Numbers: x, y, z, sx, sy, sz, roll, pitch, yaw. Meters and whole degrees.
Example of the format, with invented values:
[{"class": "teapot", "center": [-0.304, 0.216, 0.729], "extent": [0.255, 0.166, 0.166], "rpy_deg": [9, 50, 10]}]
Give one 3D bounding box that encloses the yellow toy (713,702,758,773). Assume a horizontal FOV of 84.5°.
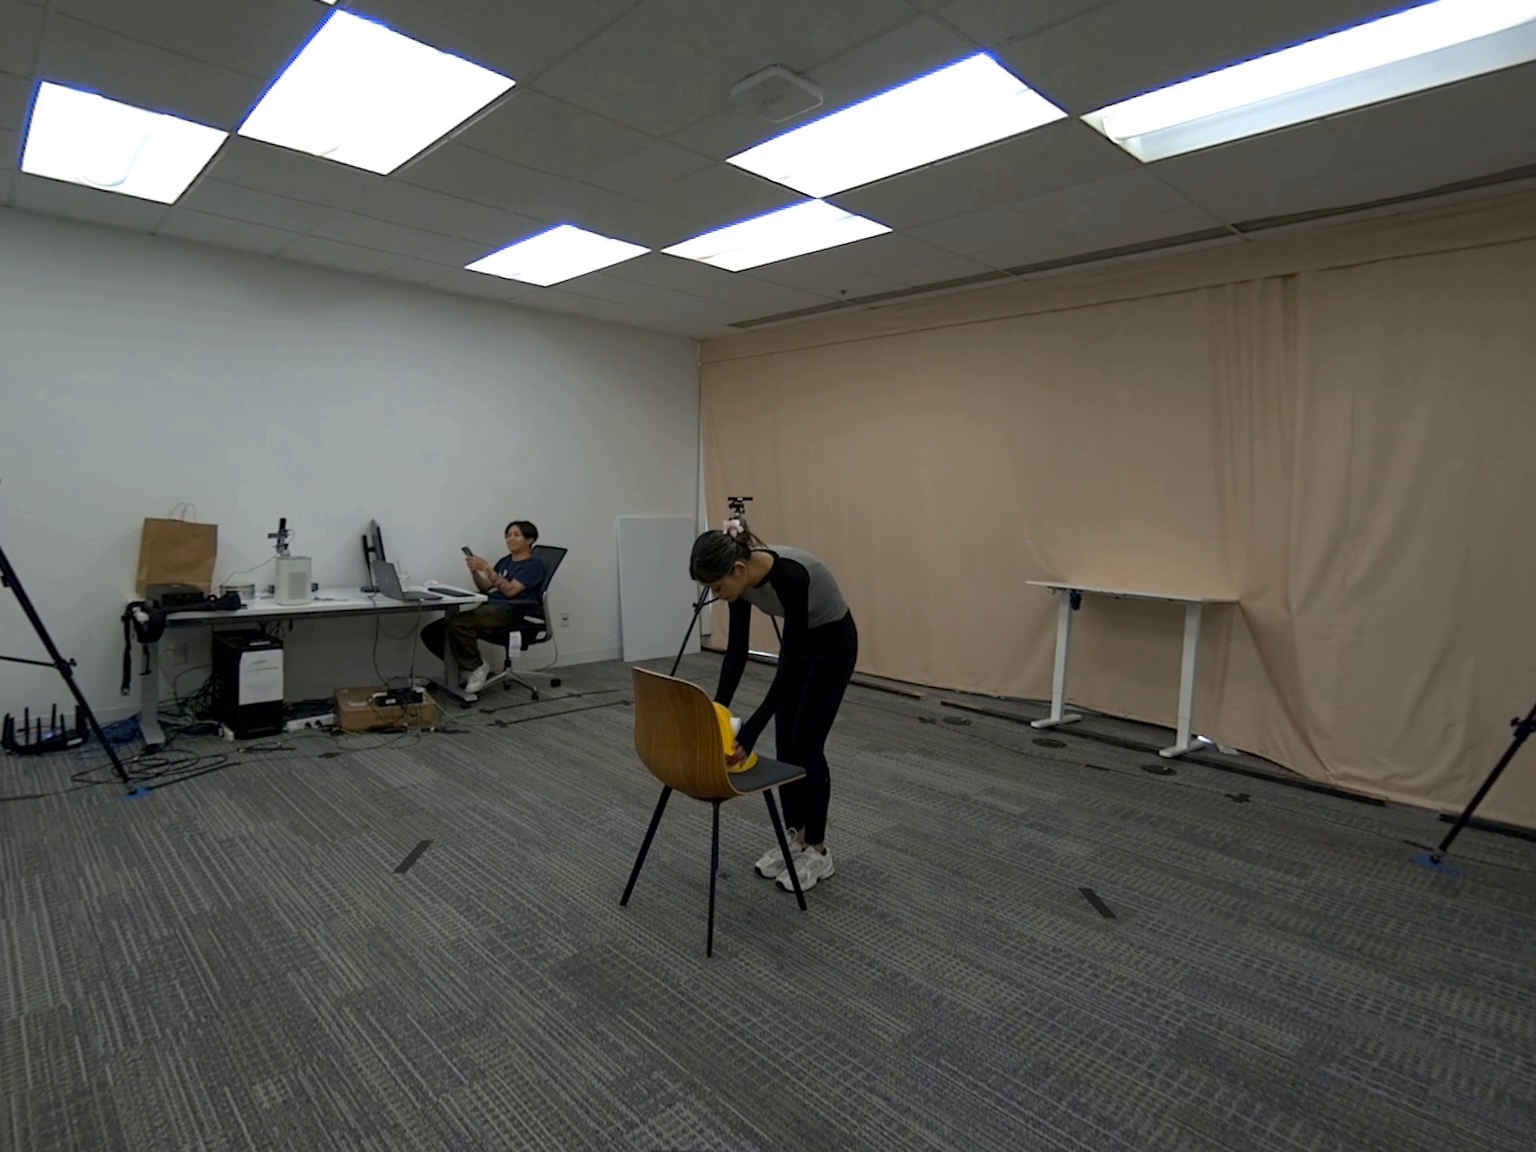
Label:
[{"class": "yellow toy", "center": [-0.146, 0.531, 2.891], "extent": [0.210, 0.229, 0.189], "rpy_deg": [7, 12, 37]}]
